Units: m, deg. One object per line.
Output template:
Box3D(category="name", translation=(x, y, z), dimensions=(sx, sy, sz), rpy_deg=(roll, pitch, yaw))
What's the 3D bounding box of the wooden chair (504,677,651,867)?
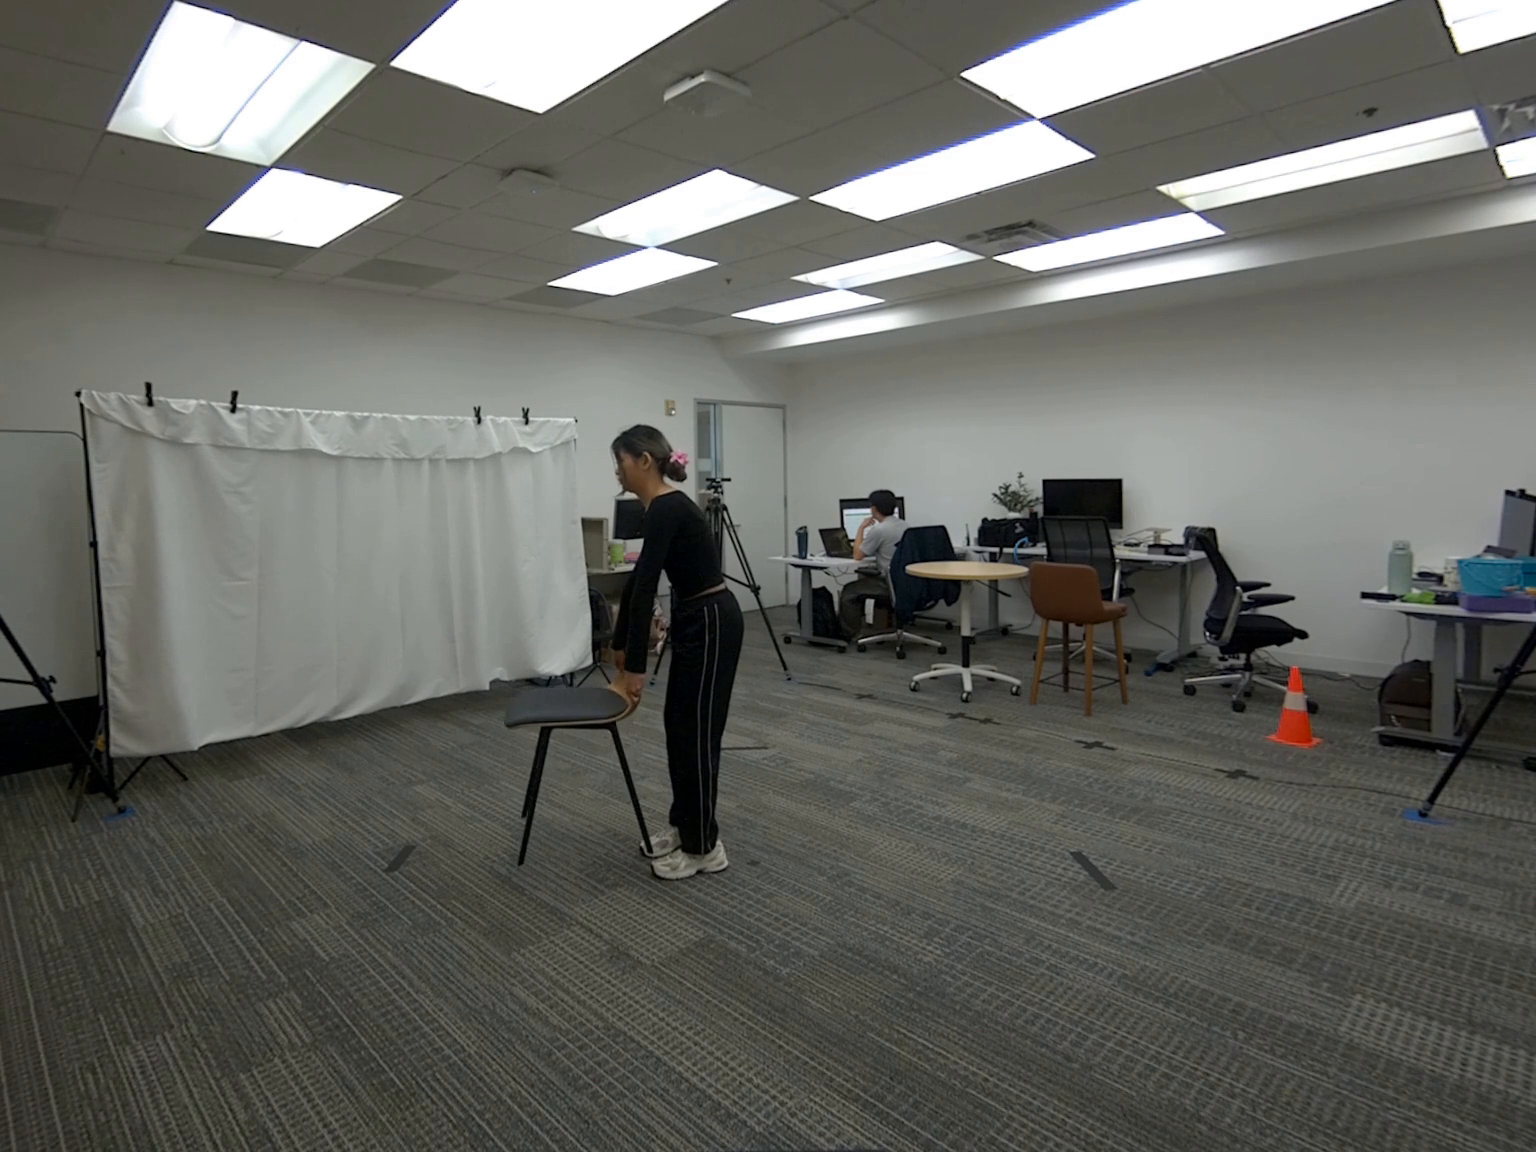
Box3D(category="wooden chair", translation=(-0.682, 0.518, 3.081), dimensions=(0.516, 0.876, 0.486), rpy_deg=(3, 3, -15))
